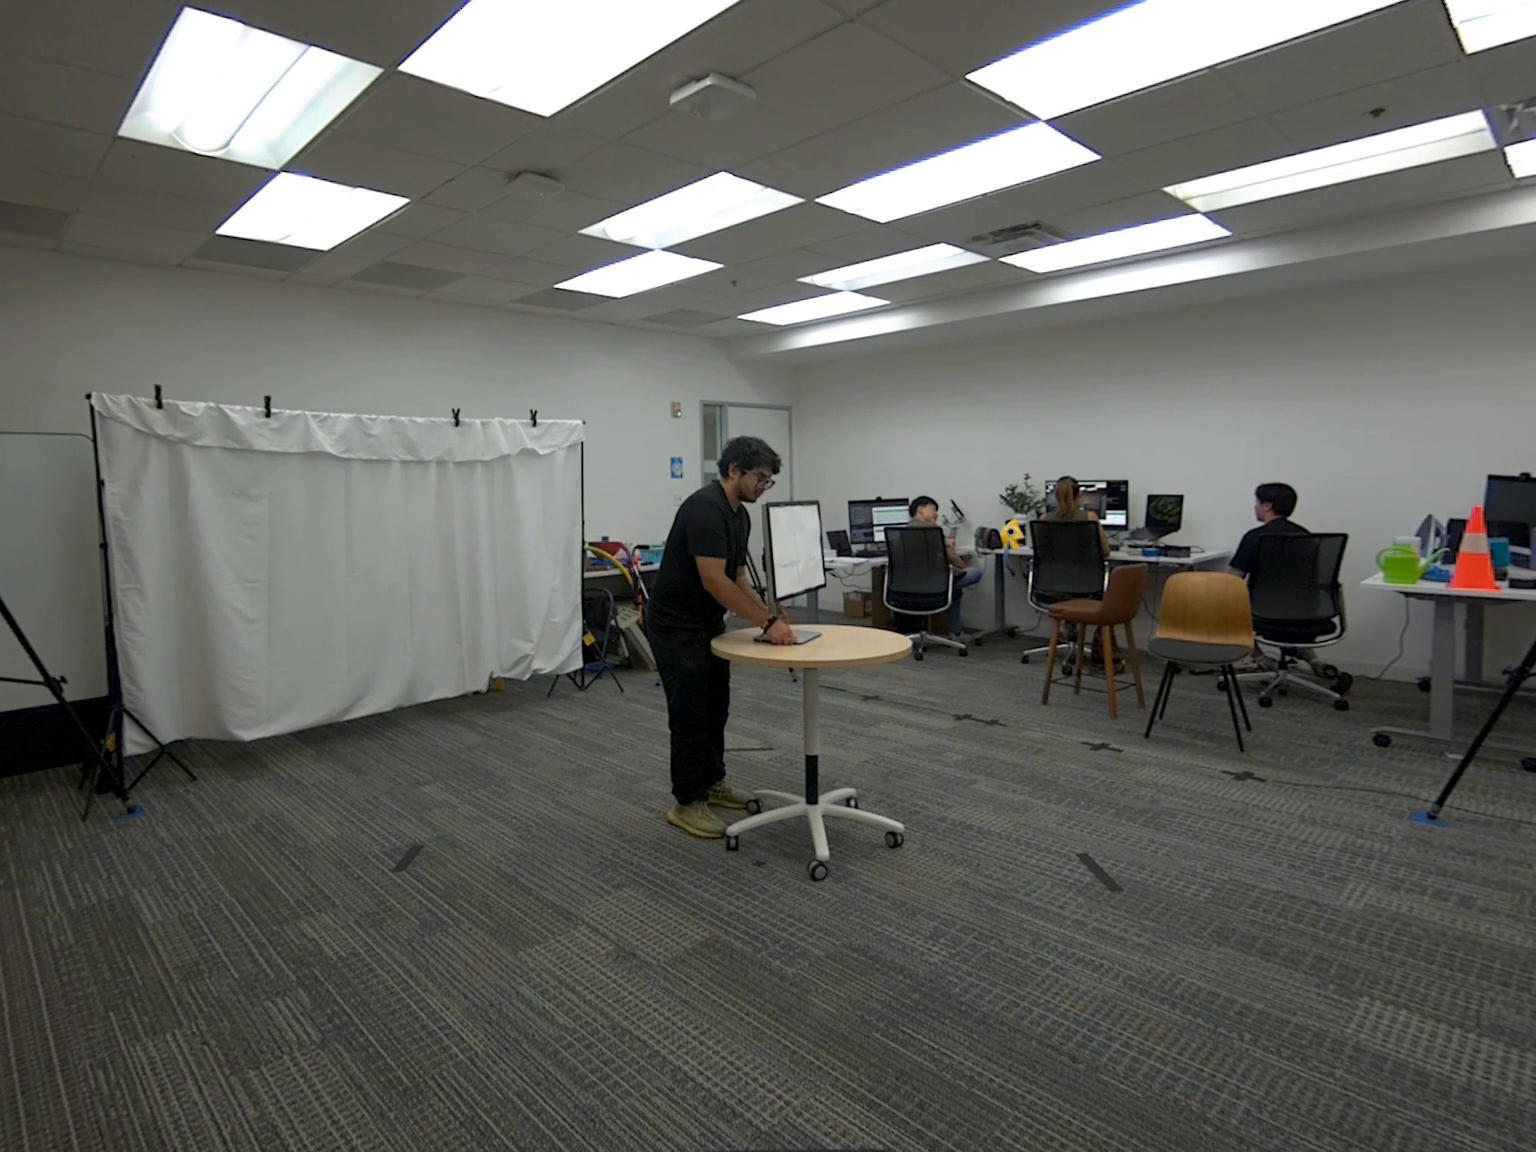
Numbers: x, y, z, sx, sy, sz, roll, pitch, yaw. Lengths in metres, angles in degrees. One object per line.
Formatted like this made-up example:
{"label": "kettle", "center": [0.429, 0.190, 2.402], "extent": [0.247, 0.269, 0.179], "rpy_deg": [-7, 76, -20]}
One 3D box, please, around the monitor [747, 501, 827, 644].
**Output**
{"label": "monitor", "center": [0.052, -0.020, 3.344], "extent": [0.215, 0.553, 0.554], "rpy_deg": [-1, 4, 25]}
